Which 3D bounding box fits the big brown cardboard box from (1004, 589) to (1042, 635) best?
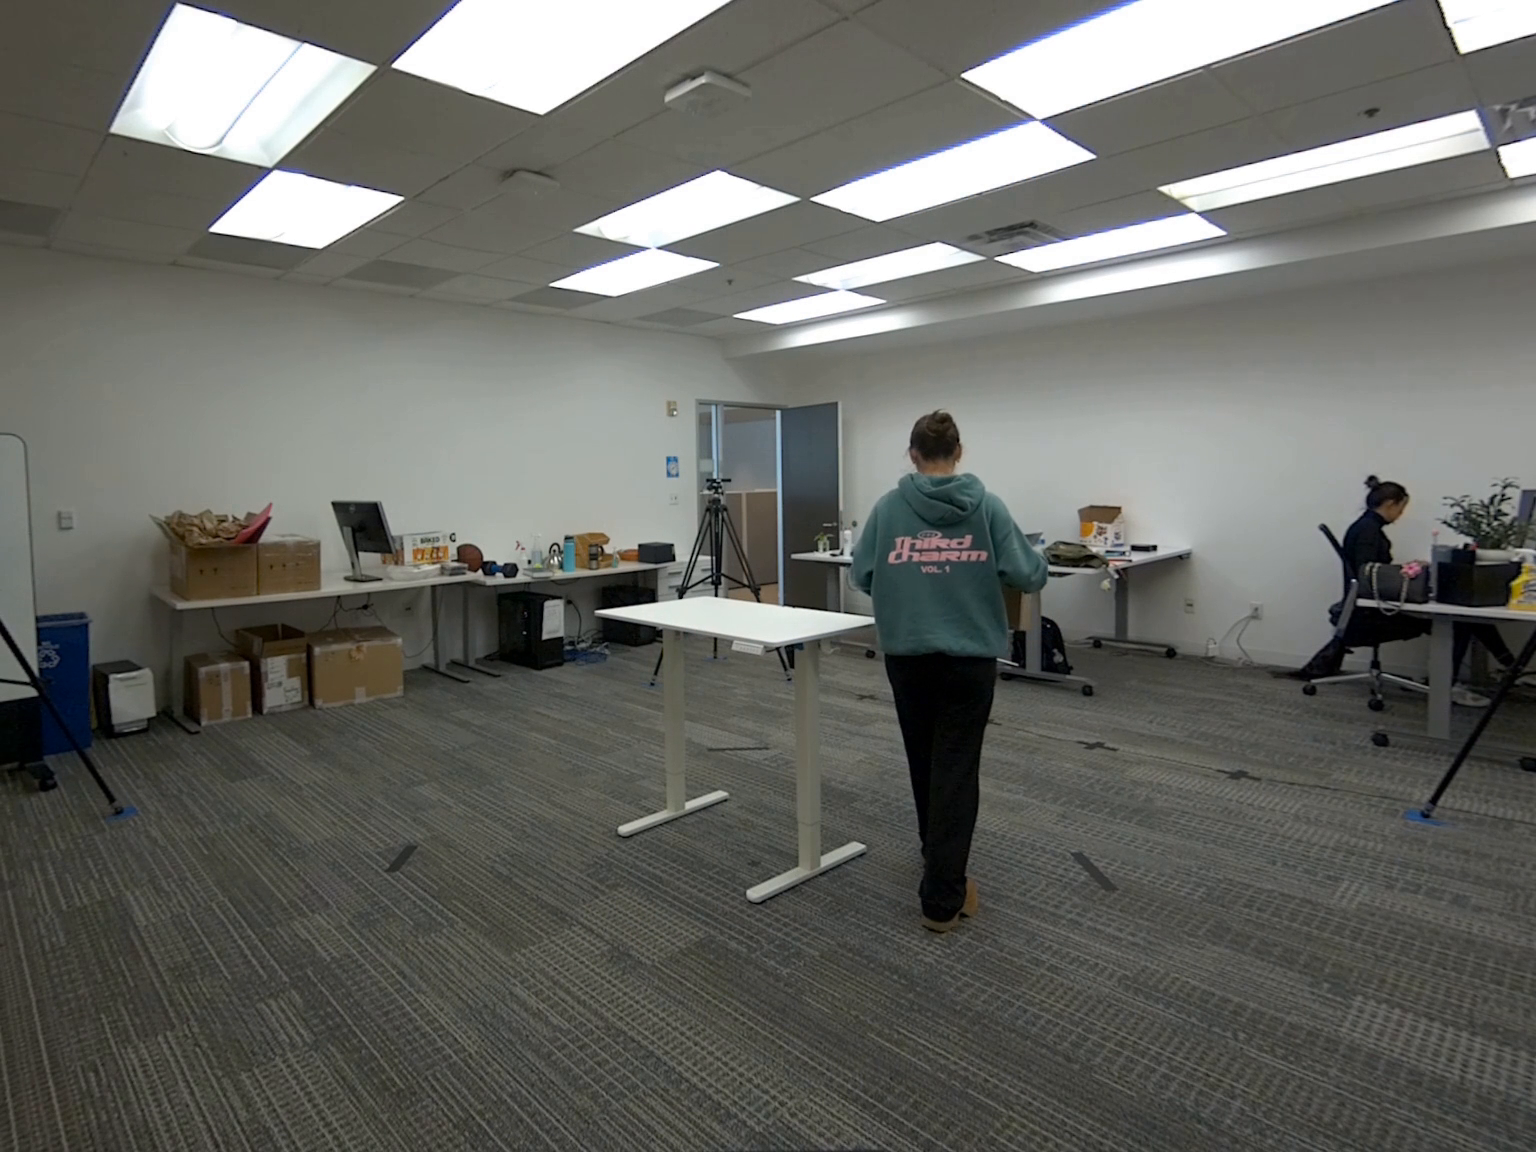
[{"bbox_3d":[0.747,0.065,3.191,0.426,0.234,0.575,4,-2,21],"label":"big brown cardboard box"}]
